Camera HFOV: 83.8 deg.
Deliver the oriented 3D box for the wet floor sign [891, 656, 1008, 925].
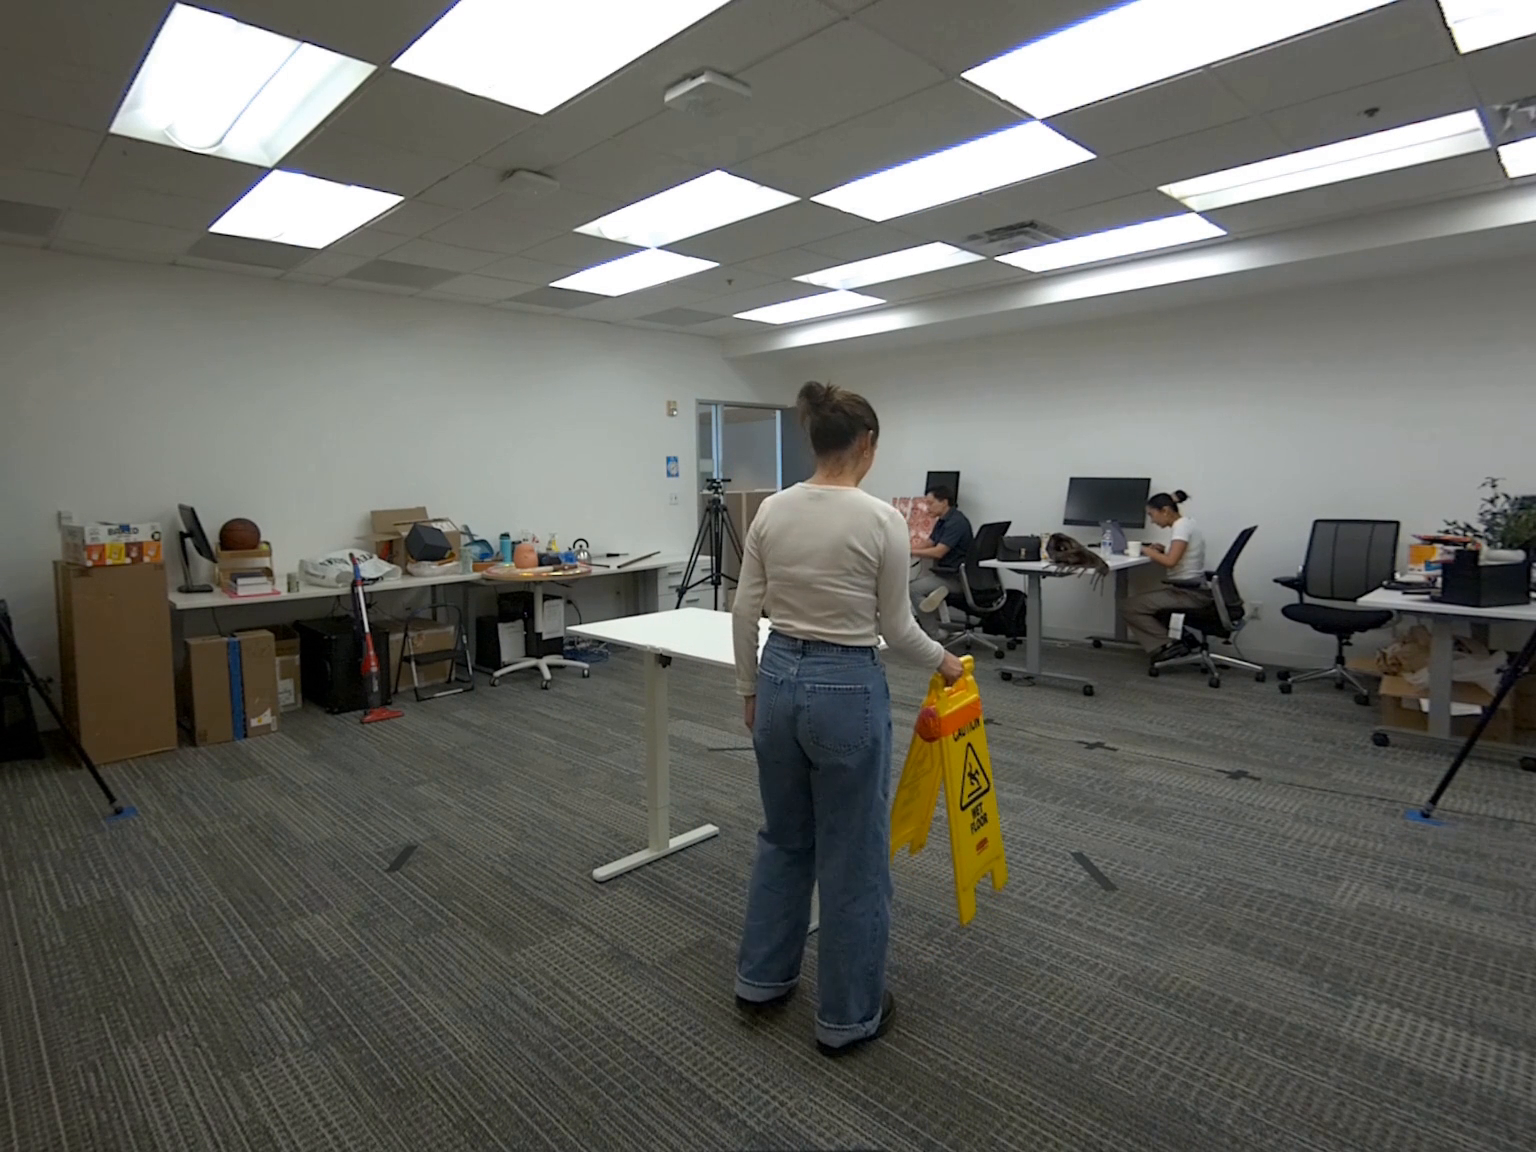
[{"bbox_3d":[0.499,0.548,2.341,0.299,0.639,0.276,10,15,38],"label":"wet floor sign"}]
